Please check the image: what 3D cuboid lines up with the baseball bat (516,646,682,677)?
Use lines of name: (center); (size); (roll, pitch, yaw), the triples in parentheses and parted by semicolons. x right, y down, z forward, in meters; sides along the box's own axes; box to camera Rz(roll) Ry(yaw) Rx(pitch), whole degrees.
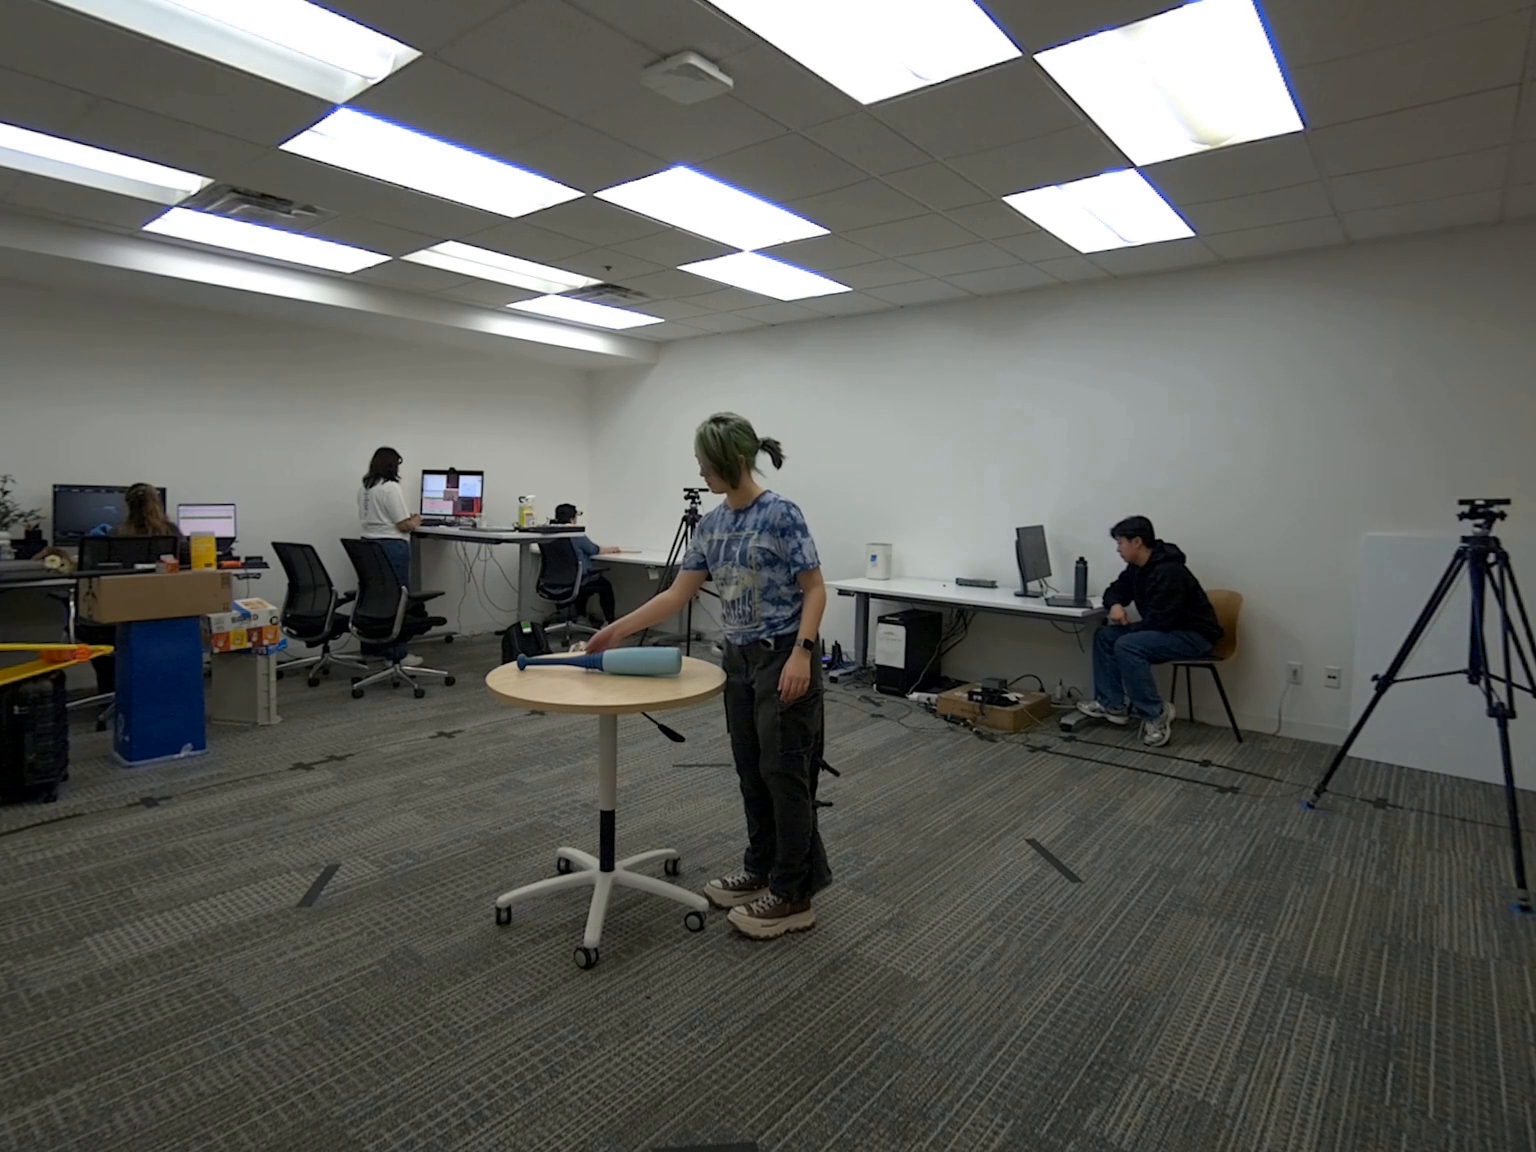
baseball bat: (-0.569, 0.280, 2.753); (0.545, 0.089, 0.089); (-2, 4, 3)
